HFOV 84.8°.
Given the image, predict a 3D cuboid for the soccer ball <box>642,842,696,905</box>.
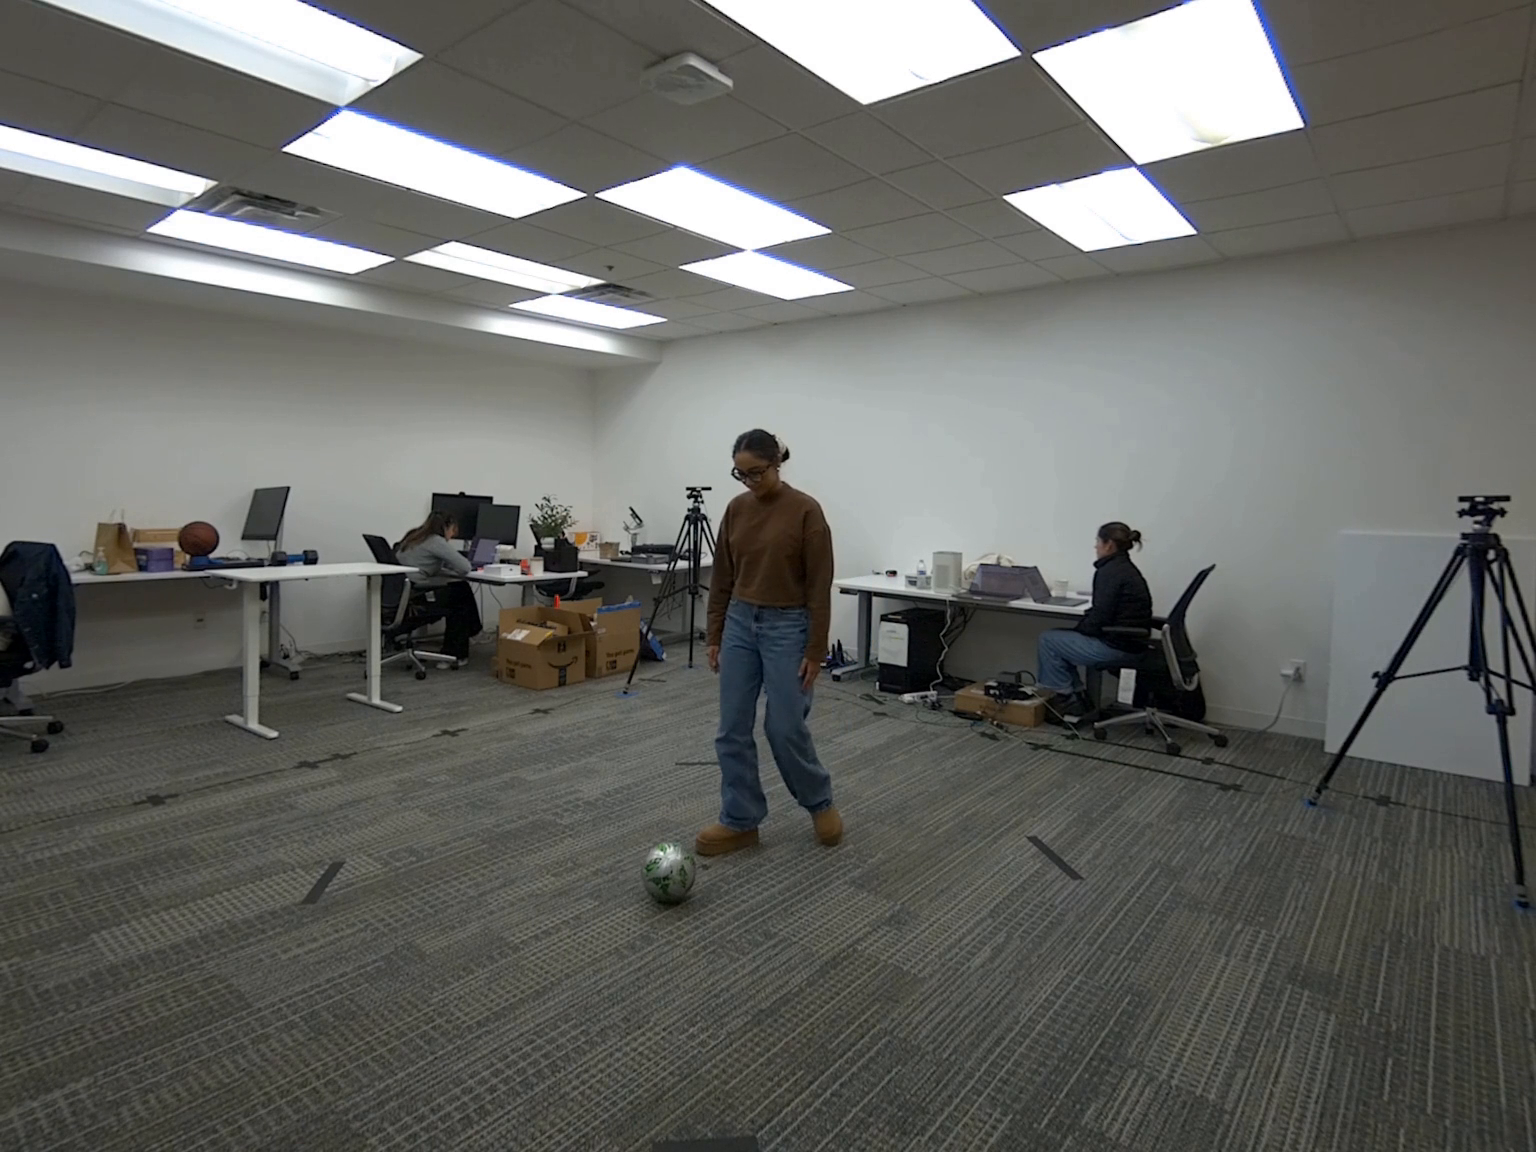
[{"bbox_3d":[-0.344,0.994,2.862,0.187,0.187,0.188,1,4,-2],"label":"soccer ball"}]
